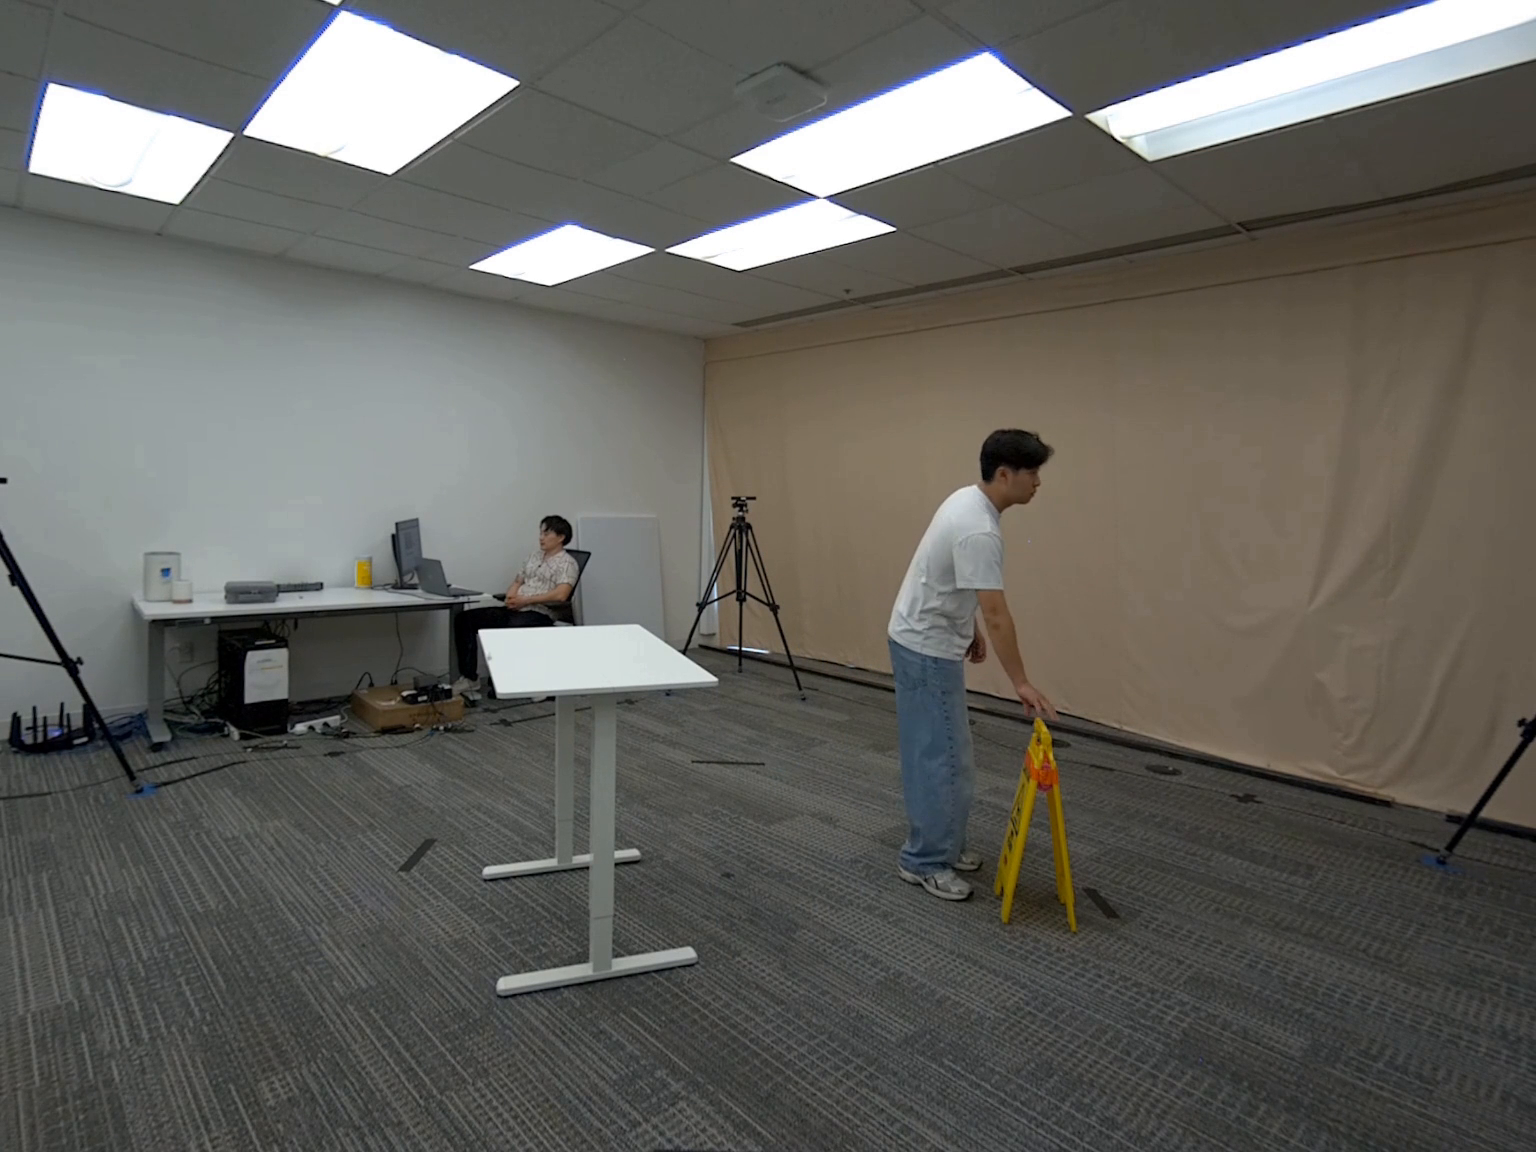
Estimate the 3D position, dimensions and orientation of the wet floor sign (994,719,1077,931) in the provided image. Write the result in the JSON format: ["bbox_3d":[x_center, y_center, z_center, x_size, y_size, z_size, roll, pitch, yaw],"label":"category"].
[{"bbox_3d":[0.916,0.822,2.891,0.292,0.644,0.280,4,5,10],"label":"wet floor sign"}]
